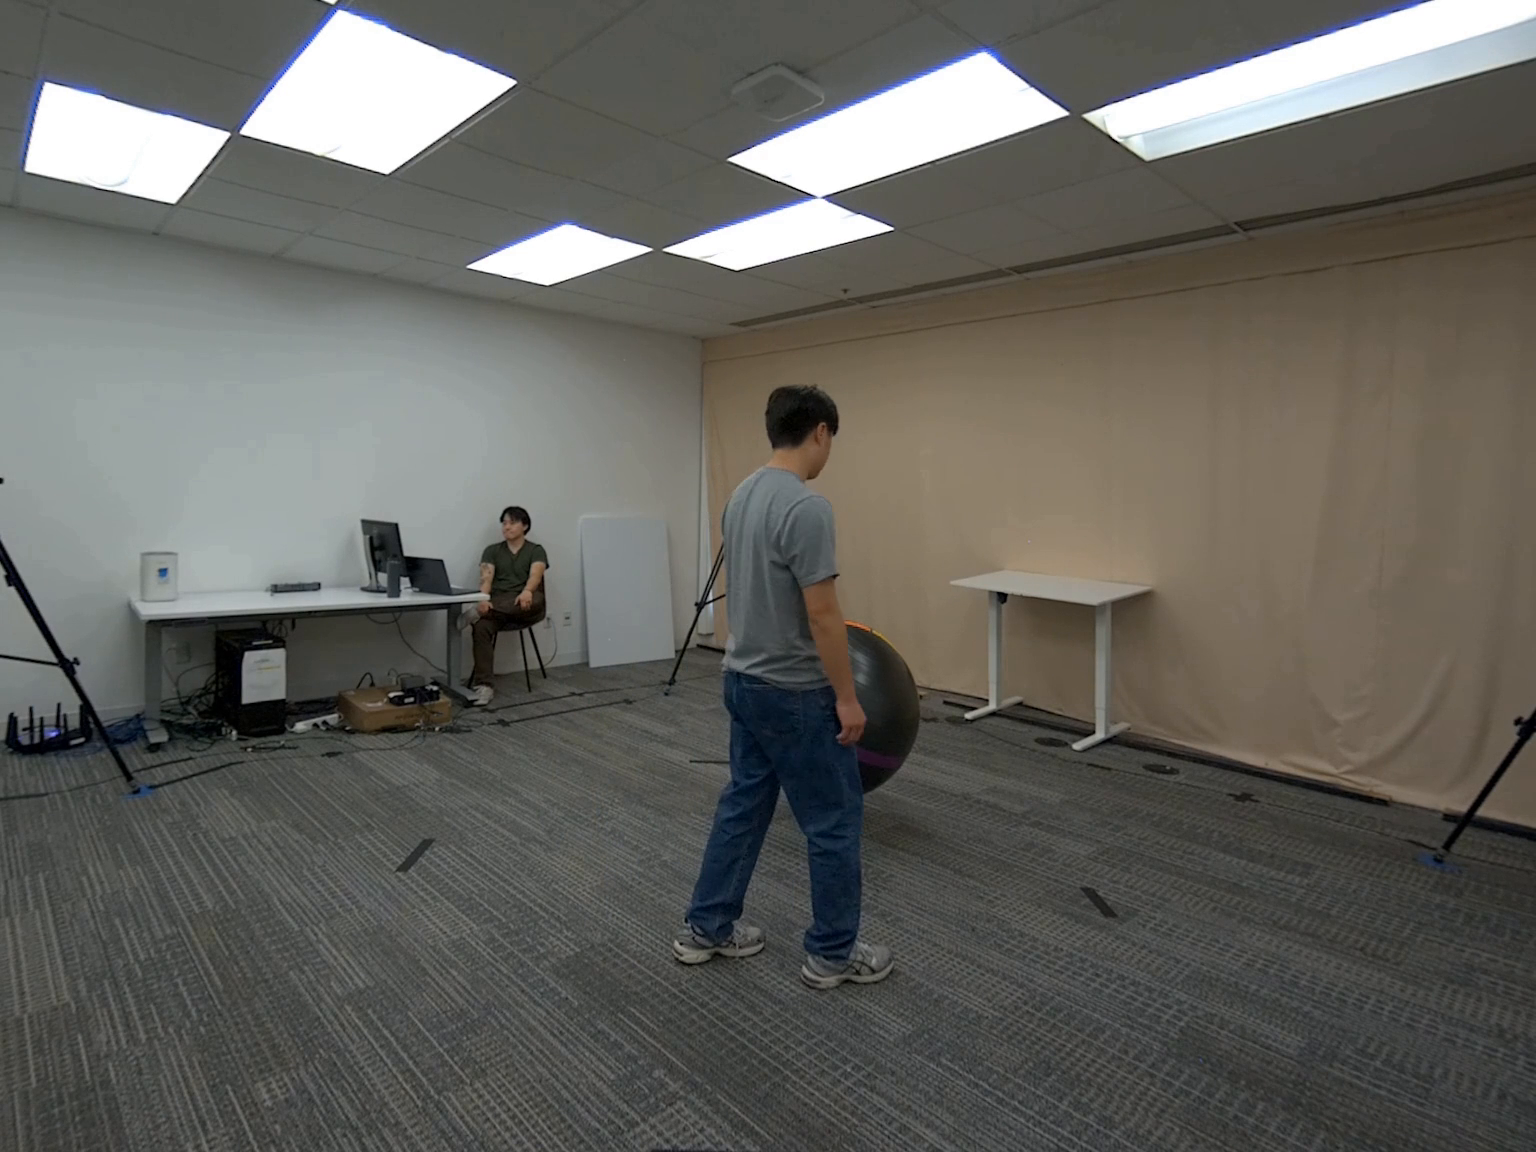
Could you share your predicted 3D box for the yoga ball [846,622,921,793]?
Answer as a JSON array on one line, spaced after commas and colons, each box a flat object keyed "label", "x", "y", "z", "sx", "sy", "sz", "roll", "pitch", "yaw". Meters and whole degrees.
[{"label": "yoga ball", "x": 0.263, "y": 0.561, "z": 3.596, "sx": 0.757, "sy": 0.756, "sz": 0.761, "roll": 1, "pitch": 4, "yaw": -1}]
